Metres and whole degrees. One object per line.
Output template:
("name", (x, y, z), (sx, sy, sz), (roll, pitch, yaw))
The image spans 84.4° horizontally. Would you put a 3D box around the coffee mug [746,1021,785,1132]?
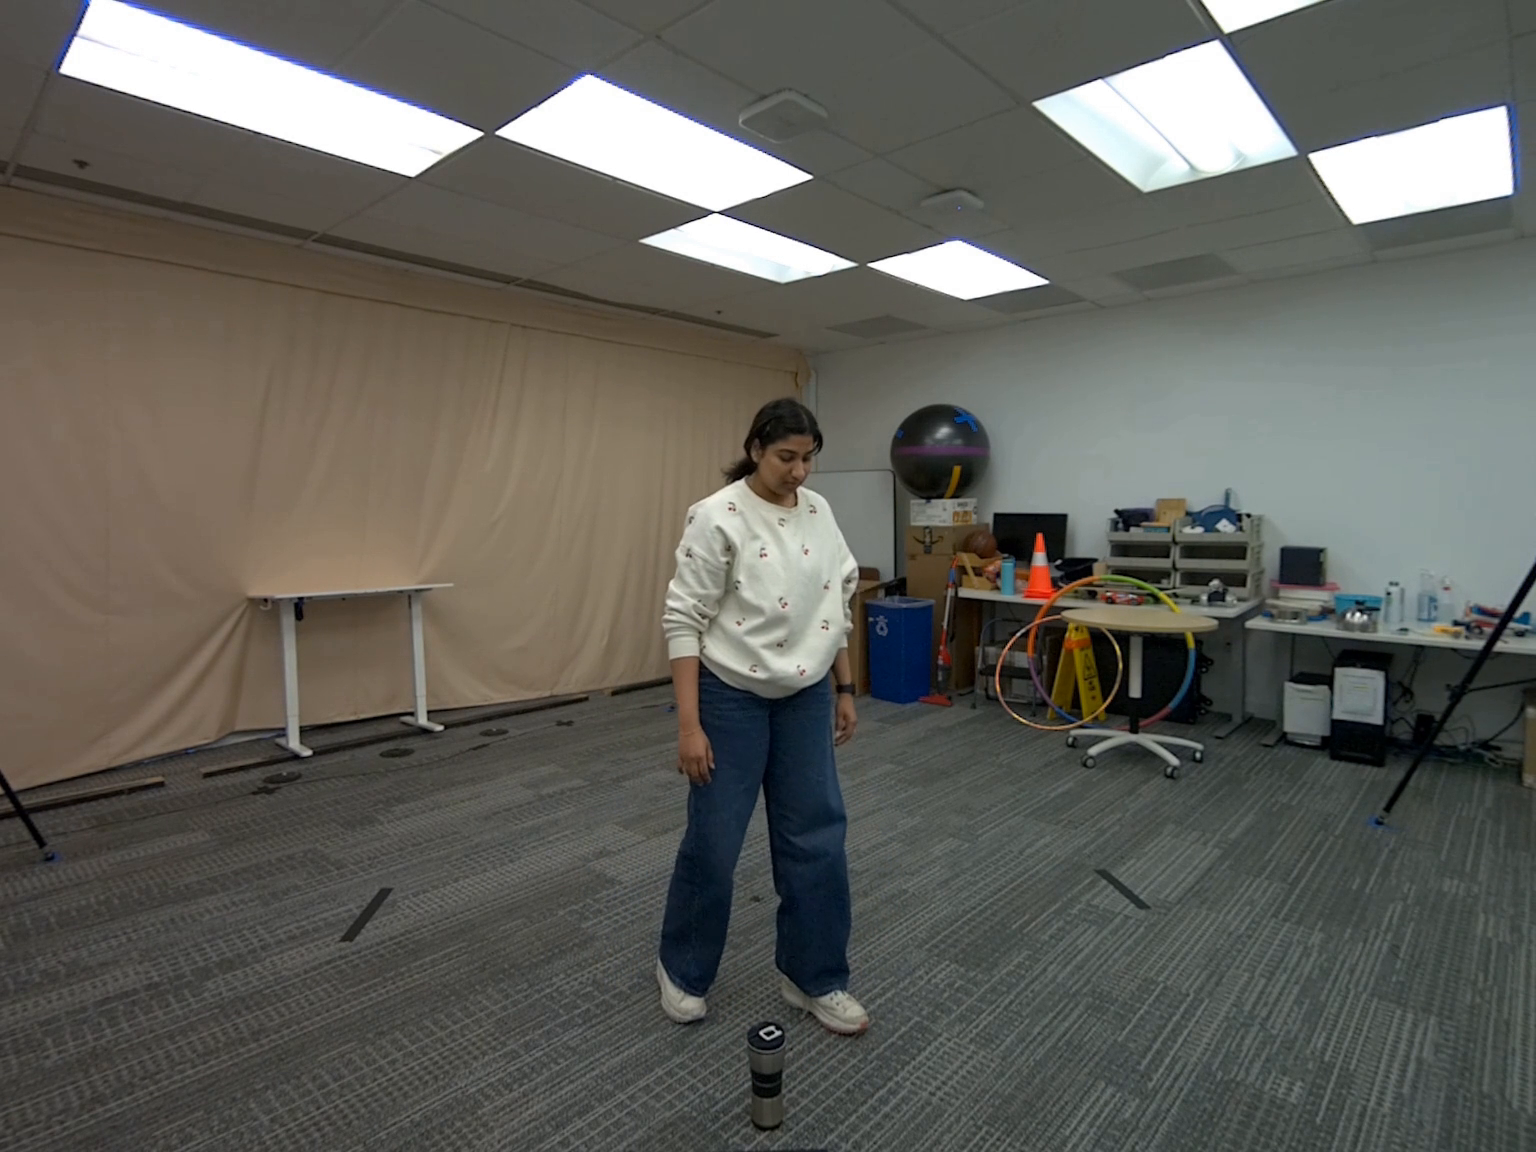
("coffee mug", (0.016, 1.140, 1.907), (0.090, 0.202, 0.118), (-3, 4, 44))
